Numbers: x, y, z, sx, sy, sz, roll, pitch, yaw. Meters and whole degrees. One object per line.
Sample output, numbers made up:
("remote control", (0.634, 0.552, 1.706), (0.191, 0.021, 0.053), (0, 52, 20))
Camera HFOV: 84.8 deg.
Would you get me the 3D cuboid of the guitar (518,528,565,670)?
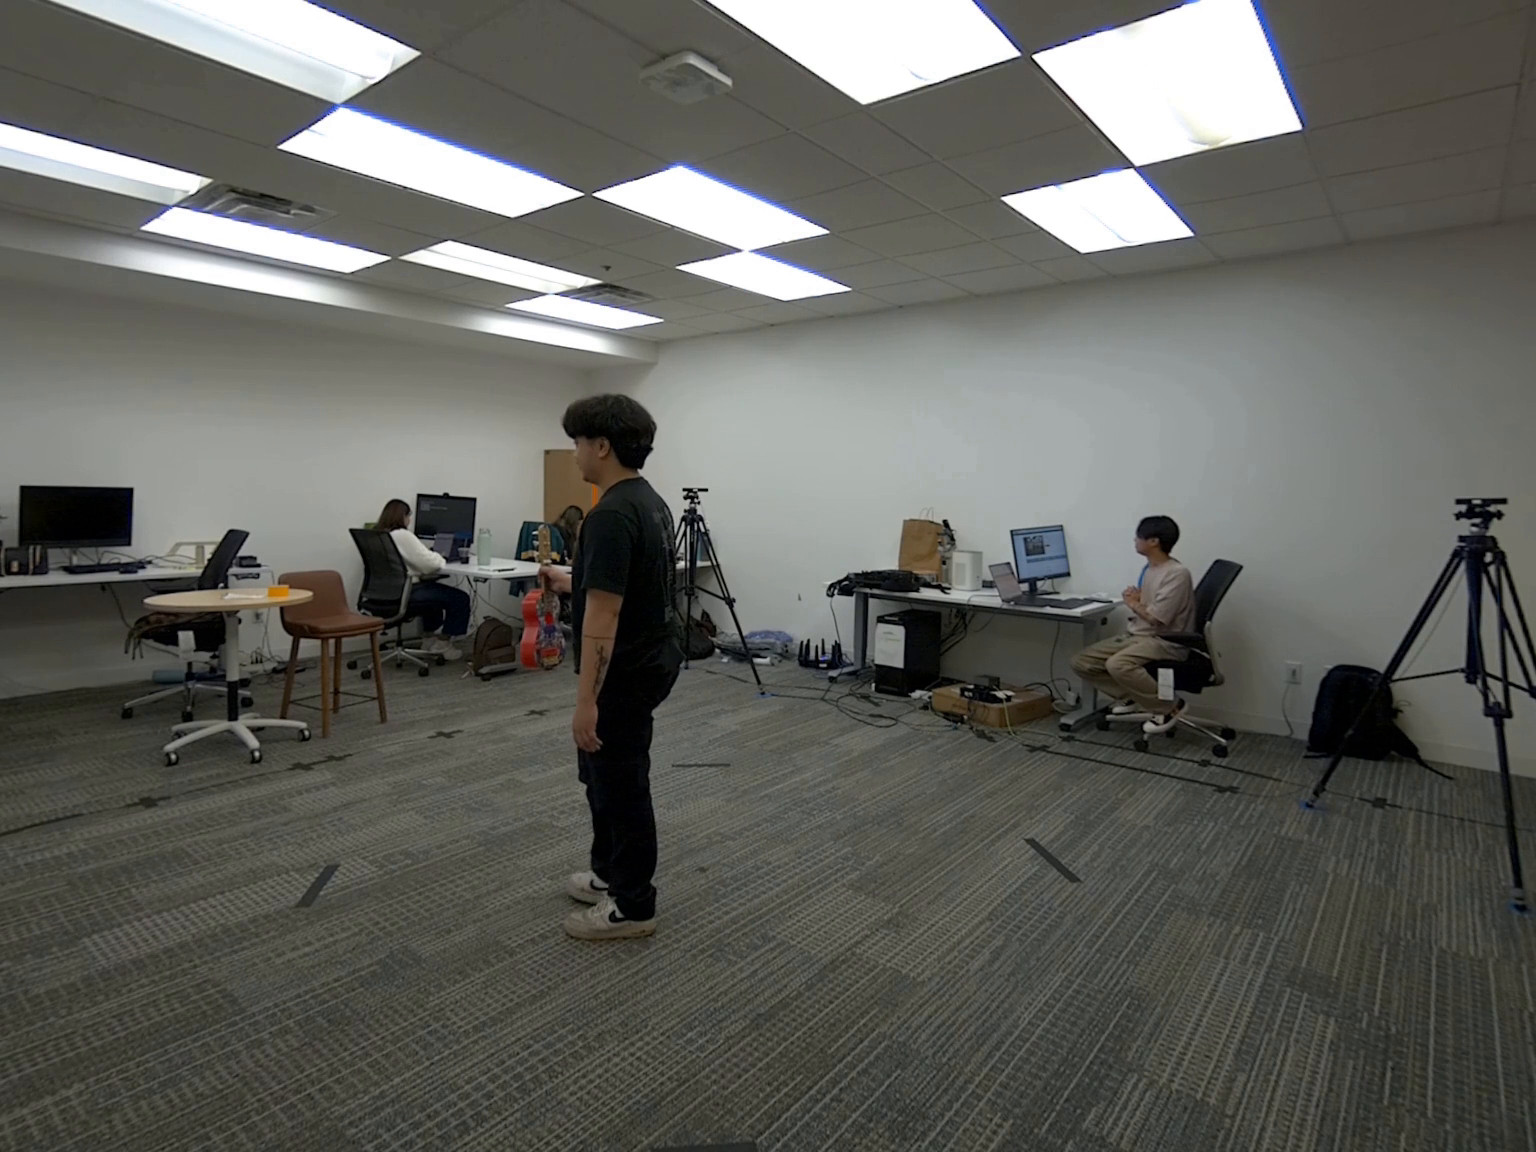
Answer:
("guitar", (-0.802, 0.078, 3.012), (0.072, 0.503, 0.187), (-5, -11, 18))
